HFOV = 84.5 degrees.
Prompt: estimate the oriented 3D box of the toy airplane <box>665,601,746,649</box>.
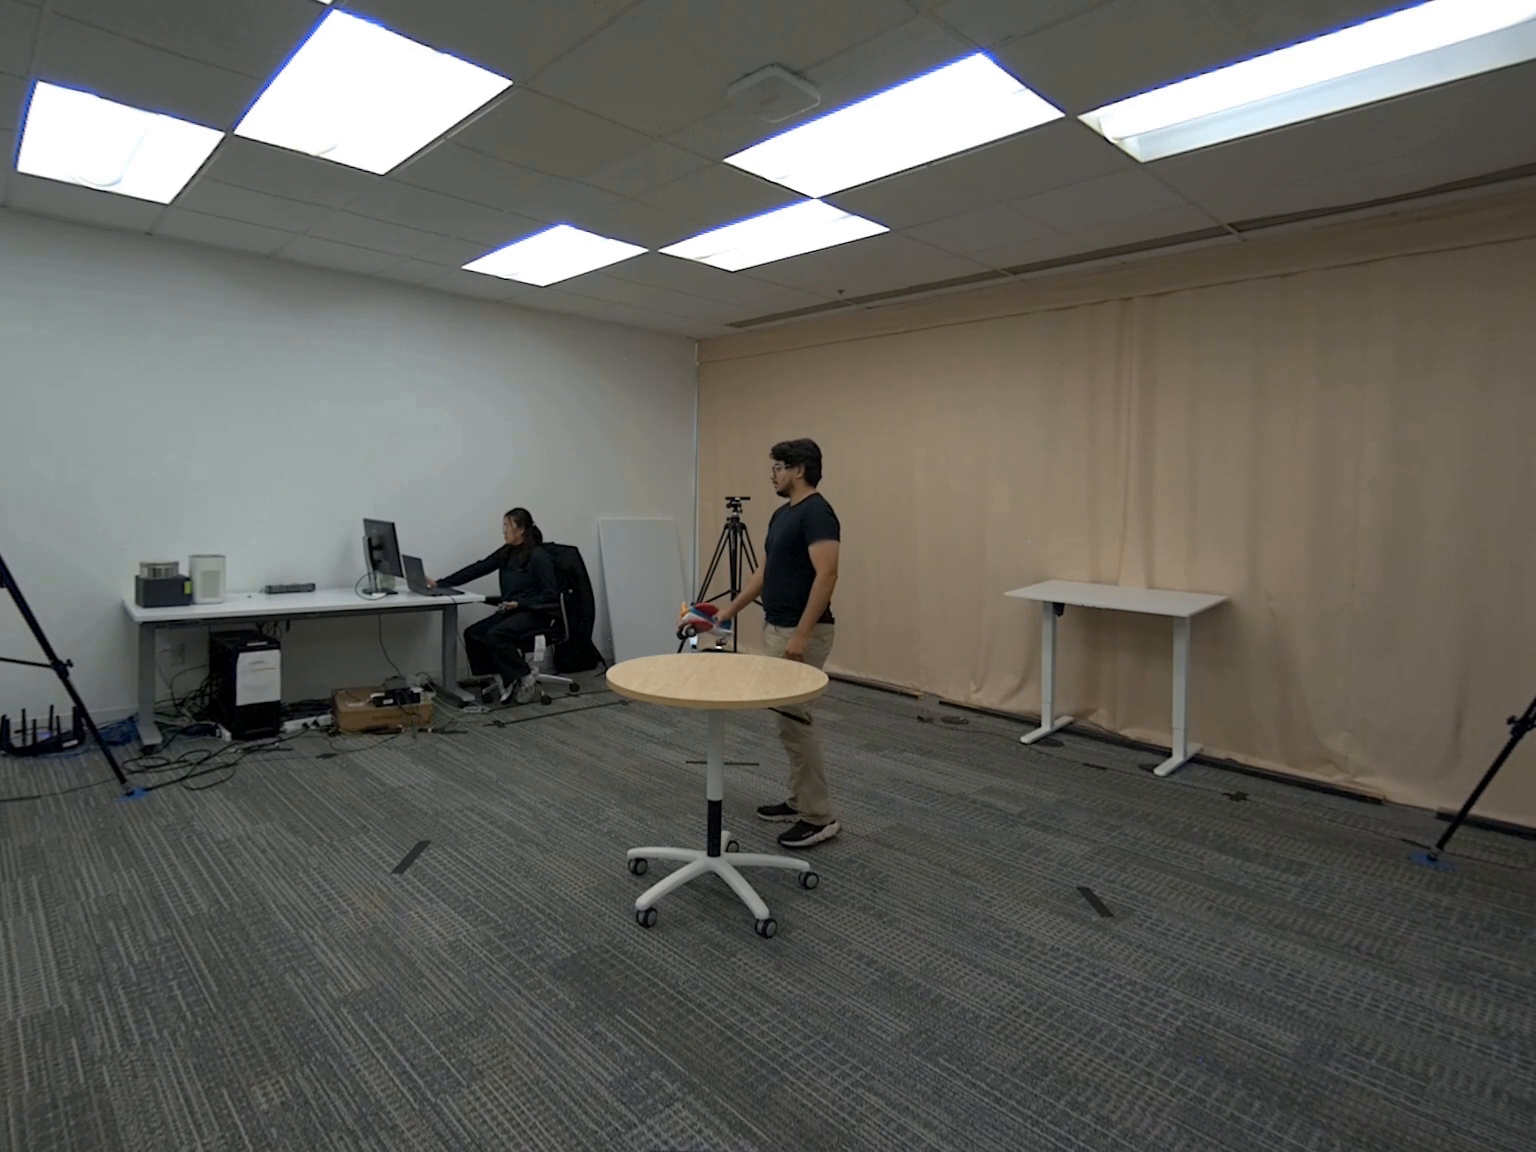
[{"bbox_3d":[-0.281,0.224,3.806,0.256,0.158,0.252,-7,-16,31],"label":"toy airplane"}]
